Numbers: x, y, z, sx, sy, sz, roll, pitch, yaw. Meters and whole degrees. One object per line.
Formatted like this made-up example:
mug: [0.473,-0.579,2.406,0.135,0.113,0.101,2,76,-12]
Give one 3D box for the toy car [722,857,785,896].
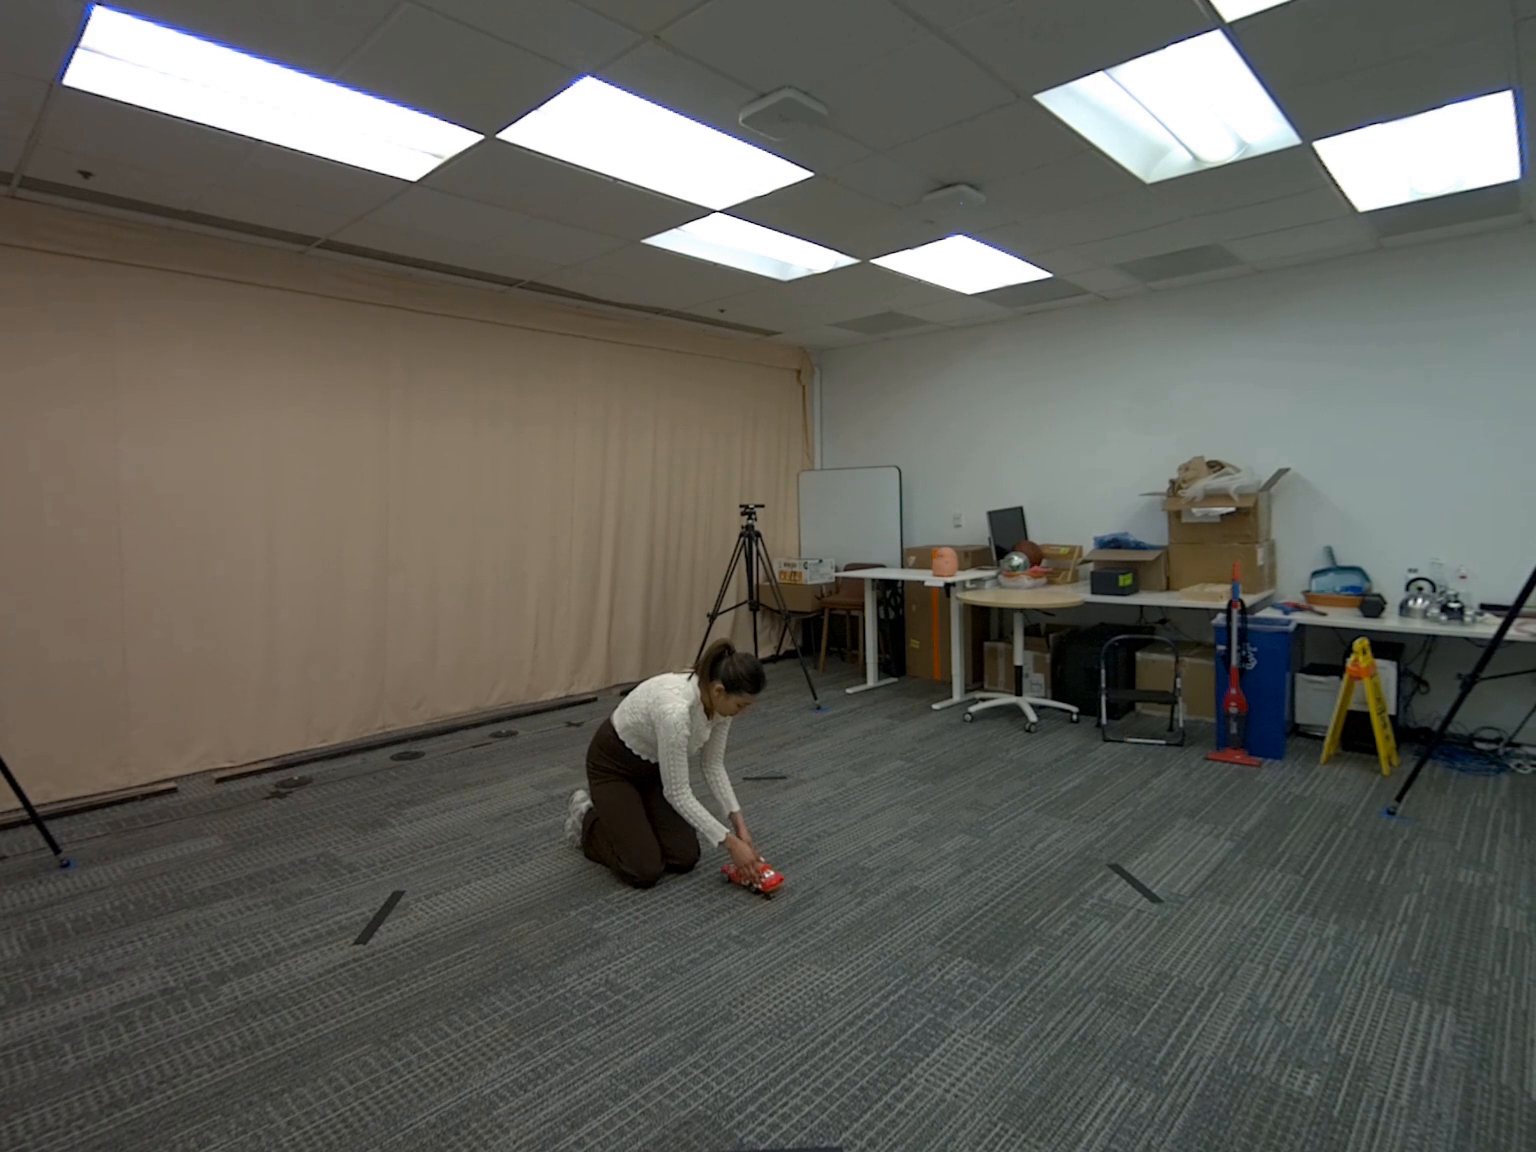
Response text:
toy car: [-0.055,1.098,3.069,0.261,0.083,0.126,-12,-2,43]
